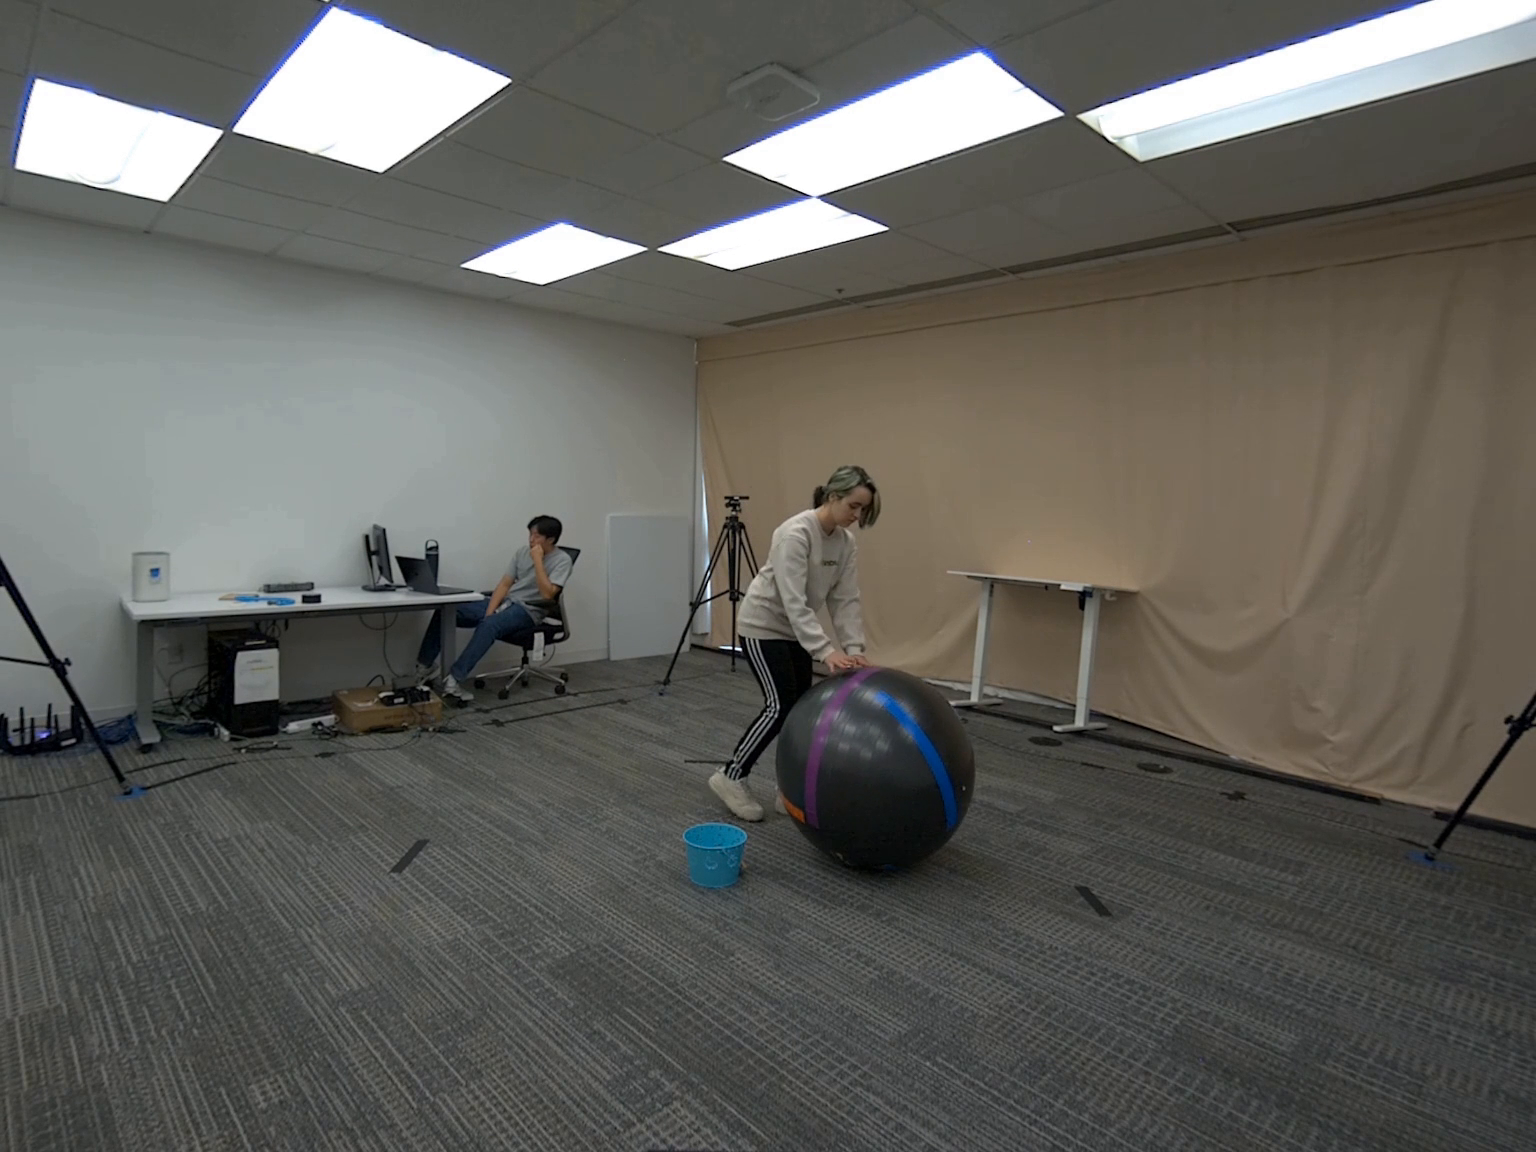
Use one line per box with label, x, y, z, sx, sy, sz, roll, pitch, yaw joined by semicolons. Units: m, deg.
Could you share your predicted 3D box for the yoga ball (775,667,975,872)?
yoga ball;0.410;0.736;3.252;0.757;0.756;0.761;1;4;-1
